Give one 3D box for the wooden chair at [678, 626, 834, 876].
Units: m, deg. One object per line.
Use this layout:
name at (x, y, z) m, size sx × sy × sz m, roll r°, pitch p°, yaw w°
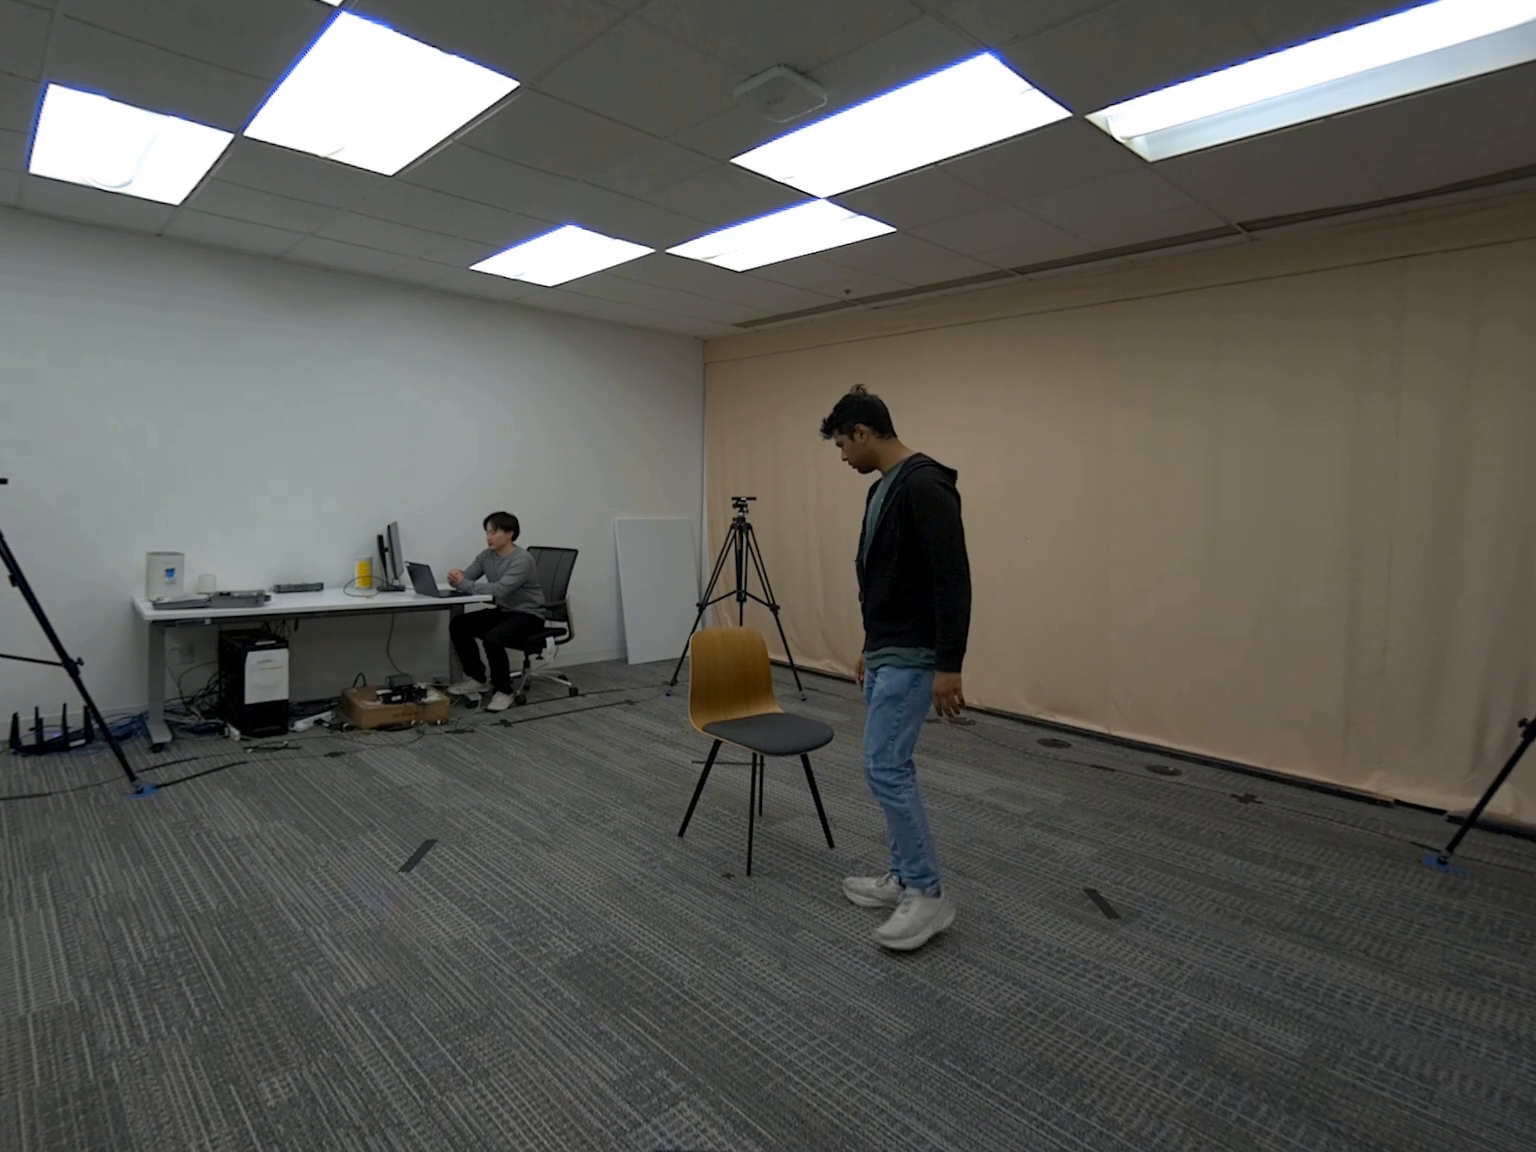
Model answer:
wooden chair at (-0.044, 0.659, 3.380) m, size 0.467 × 0.878 × 0.535 m, roll -1°, pitch -1°, yaw -40°
